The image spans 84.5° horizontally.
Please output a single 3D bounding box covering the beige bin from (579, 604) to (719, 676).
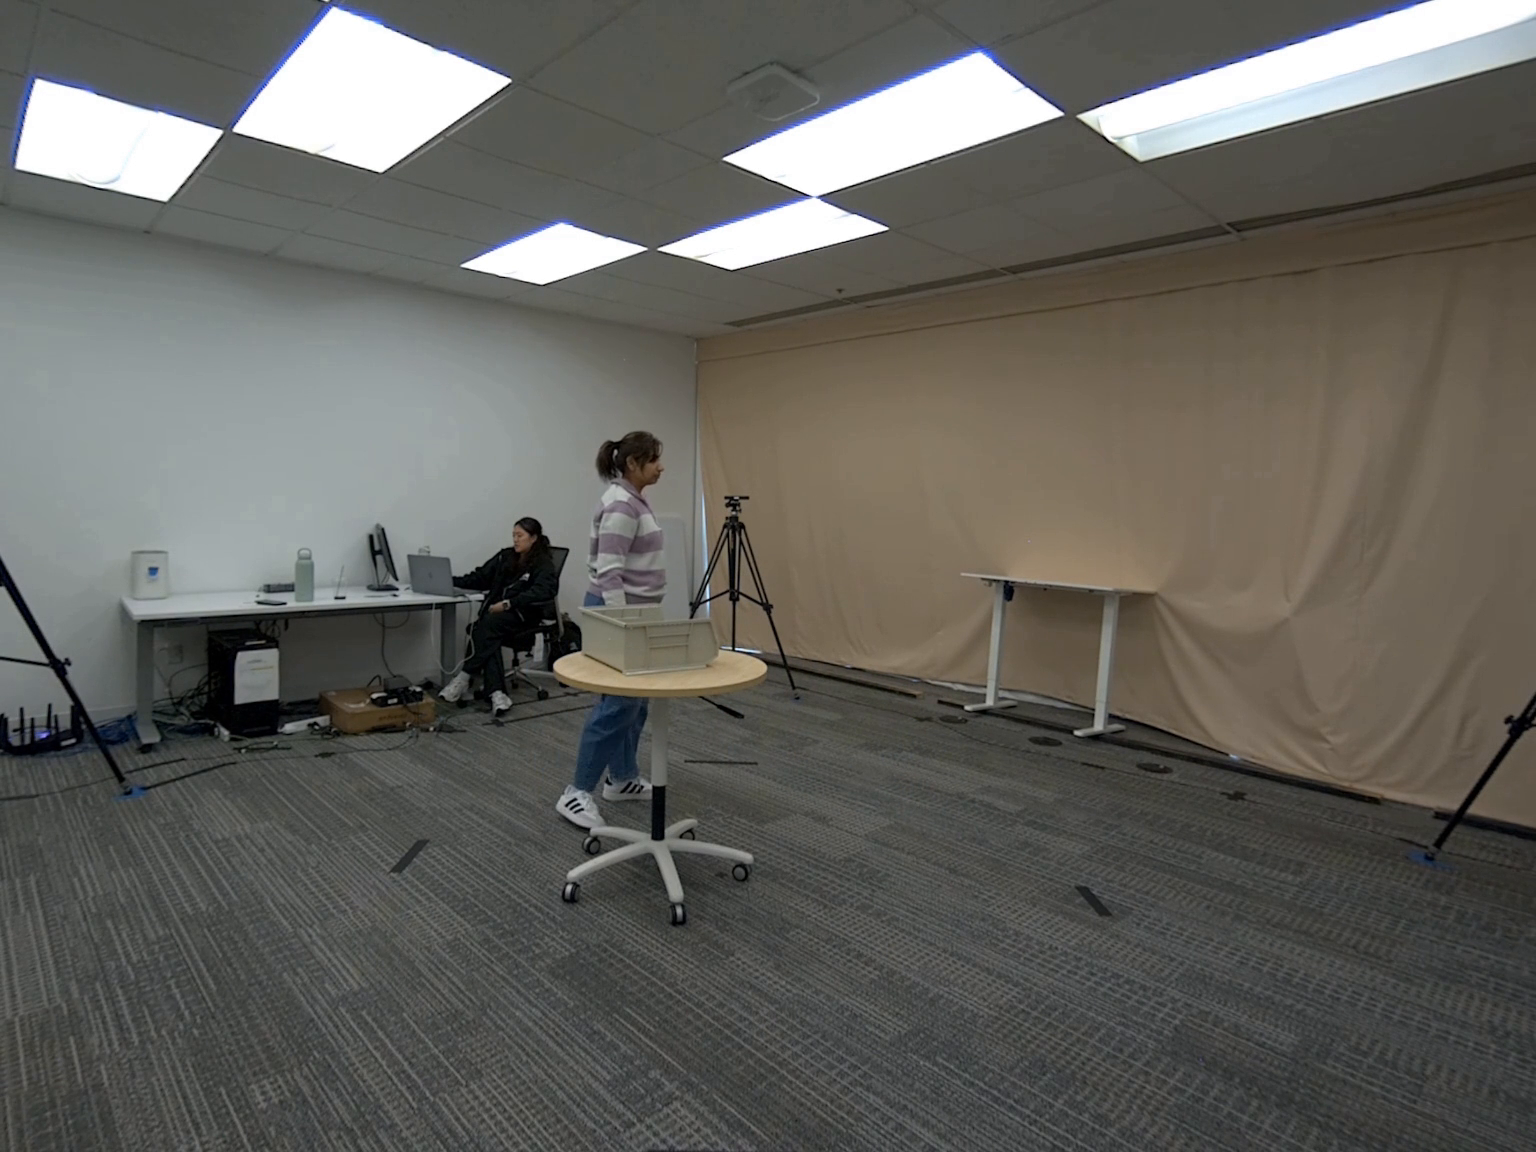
[{"bbox_3d":[-0.448,0.224,3.095,0.369,0.188,0.433,-3,7,-33],"label":"beige bin"}]
